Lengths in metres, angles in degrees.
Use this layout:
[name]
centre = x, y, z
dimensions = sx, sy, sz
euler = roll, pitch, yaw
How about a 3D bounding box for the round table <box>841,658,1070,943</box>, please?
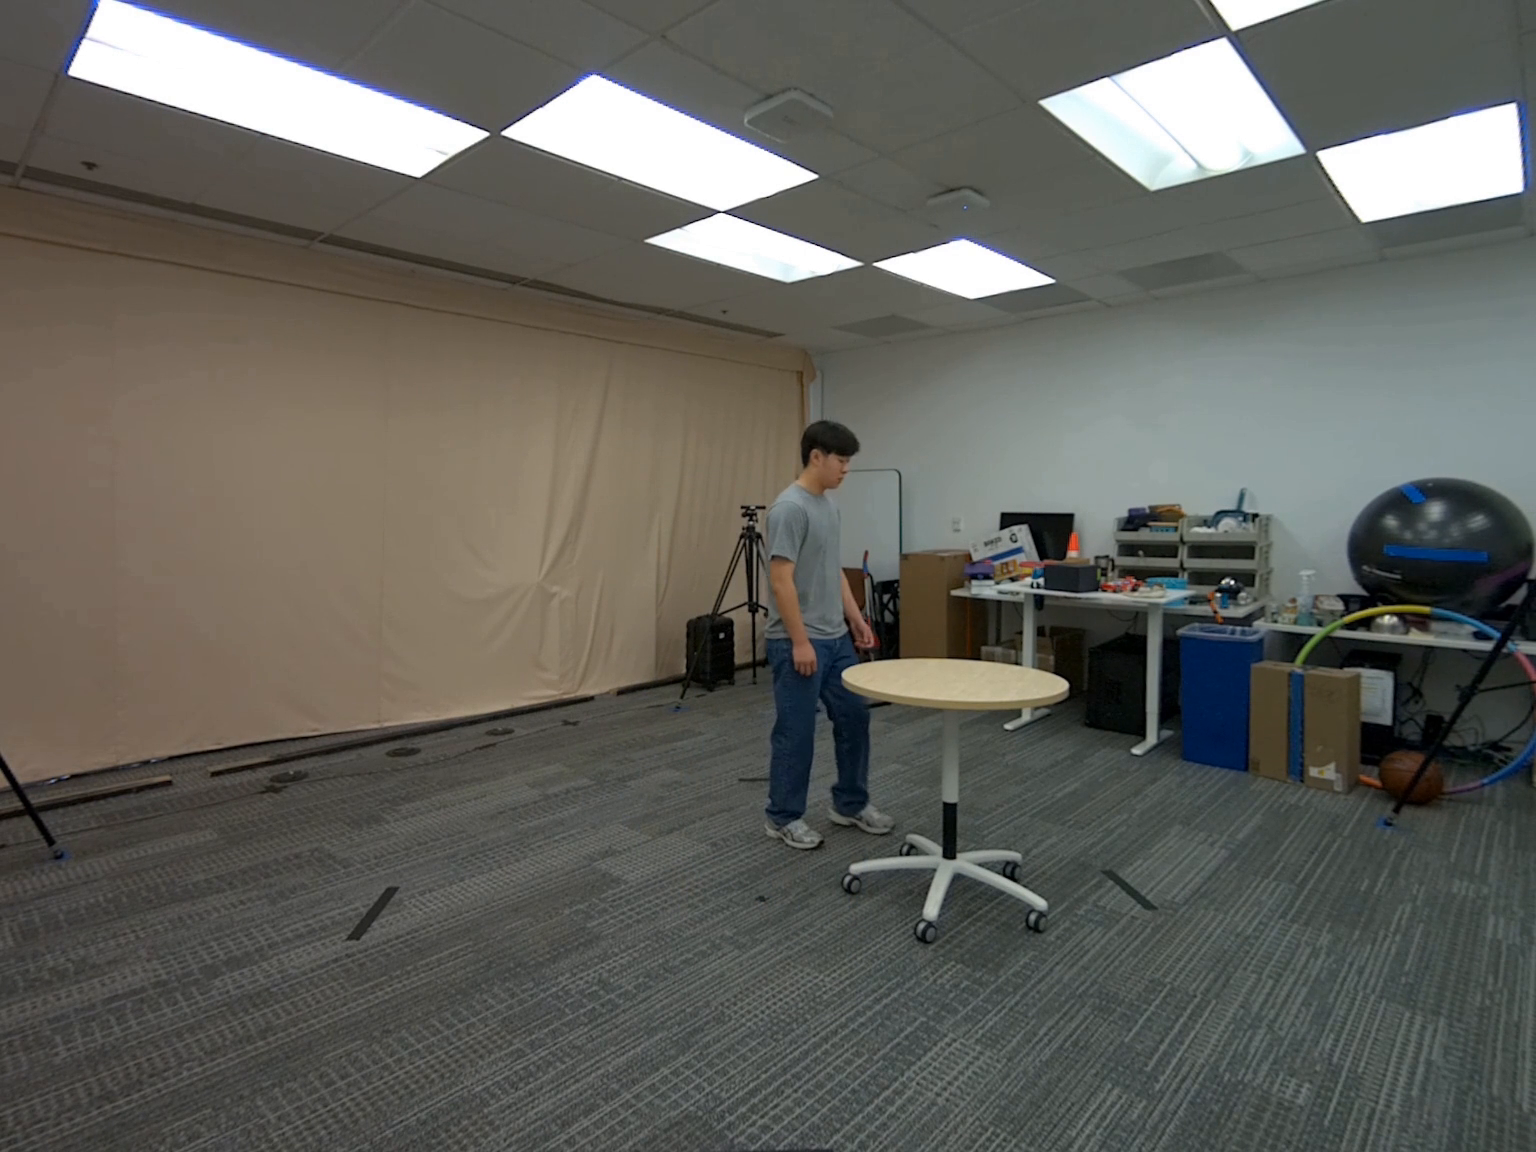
[round table]
centre = 0.651, 0.754, 2.982
dimensions = 0.763, 0.792, 0.766
euler = 0, 3, -2
